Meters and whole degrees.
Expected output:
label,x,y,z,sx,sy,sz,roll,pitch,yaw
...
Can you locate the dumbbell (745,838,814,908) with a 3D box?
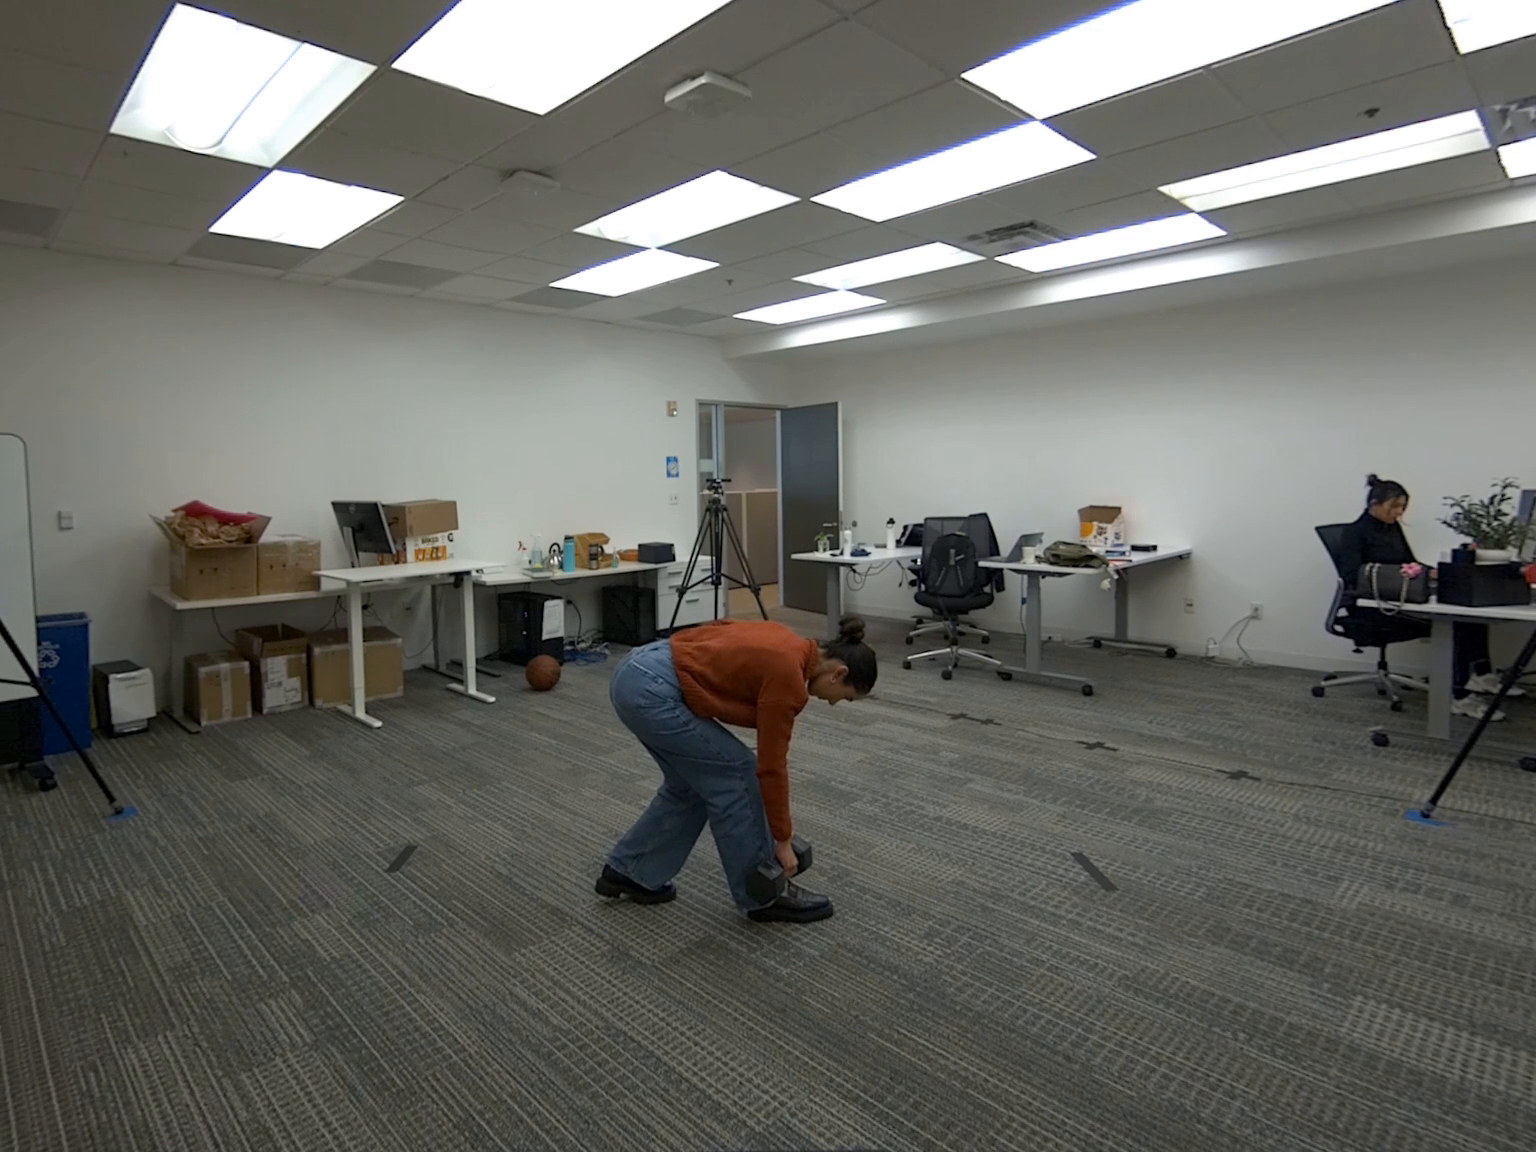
label,x,y,z,sx,sy,sz,roll,pitch,yaw
dumbbell,0.042,0.919,2.656,0.111,0.123,0.287,-8,1,29
